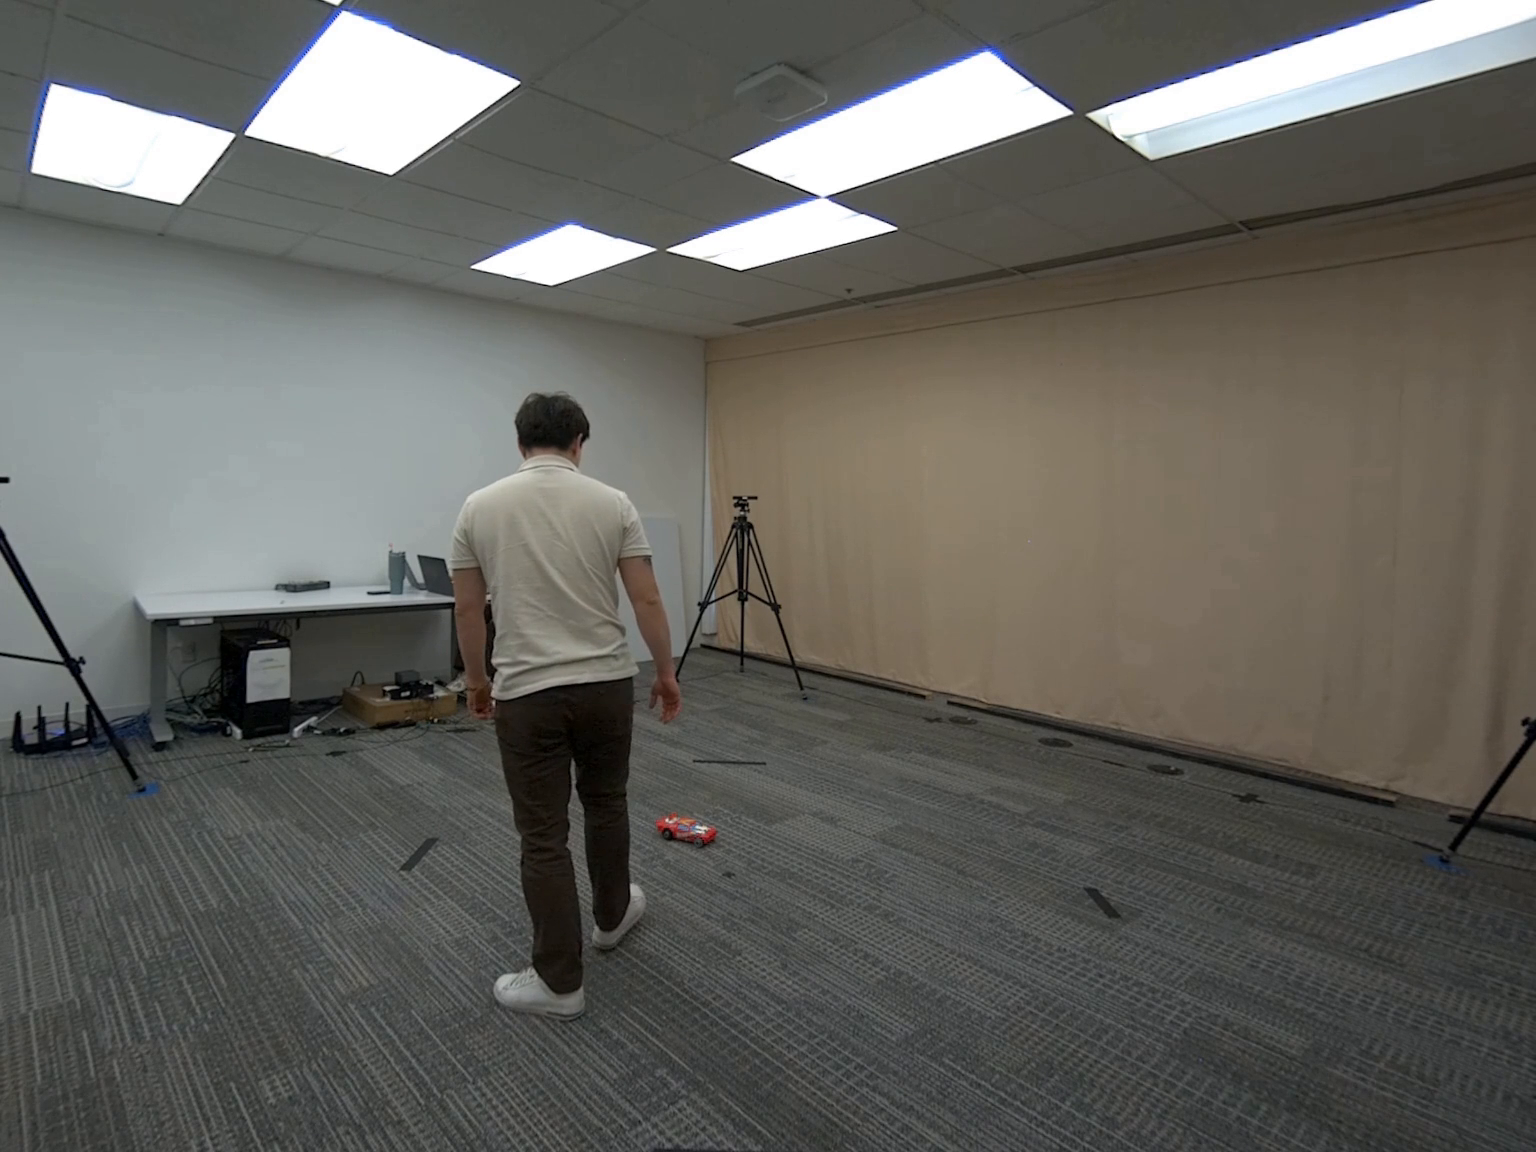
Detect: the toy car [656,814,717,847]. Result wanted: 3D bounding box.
[{"bbox_3d":[-0.346,1.035,3.426,0.260,0.083,0.128,16,10,25],"label":"toy car"}]
